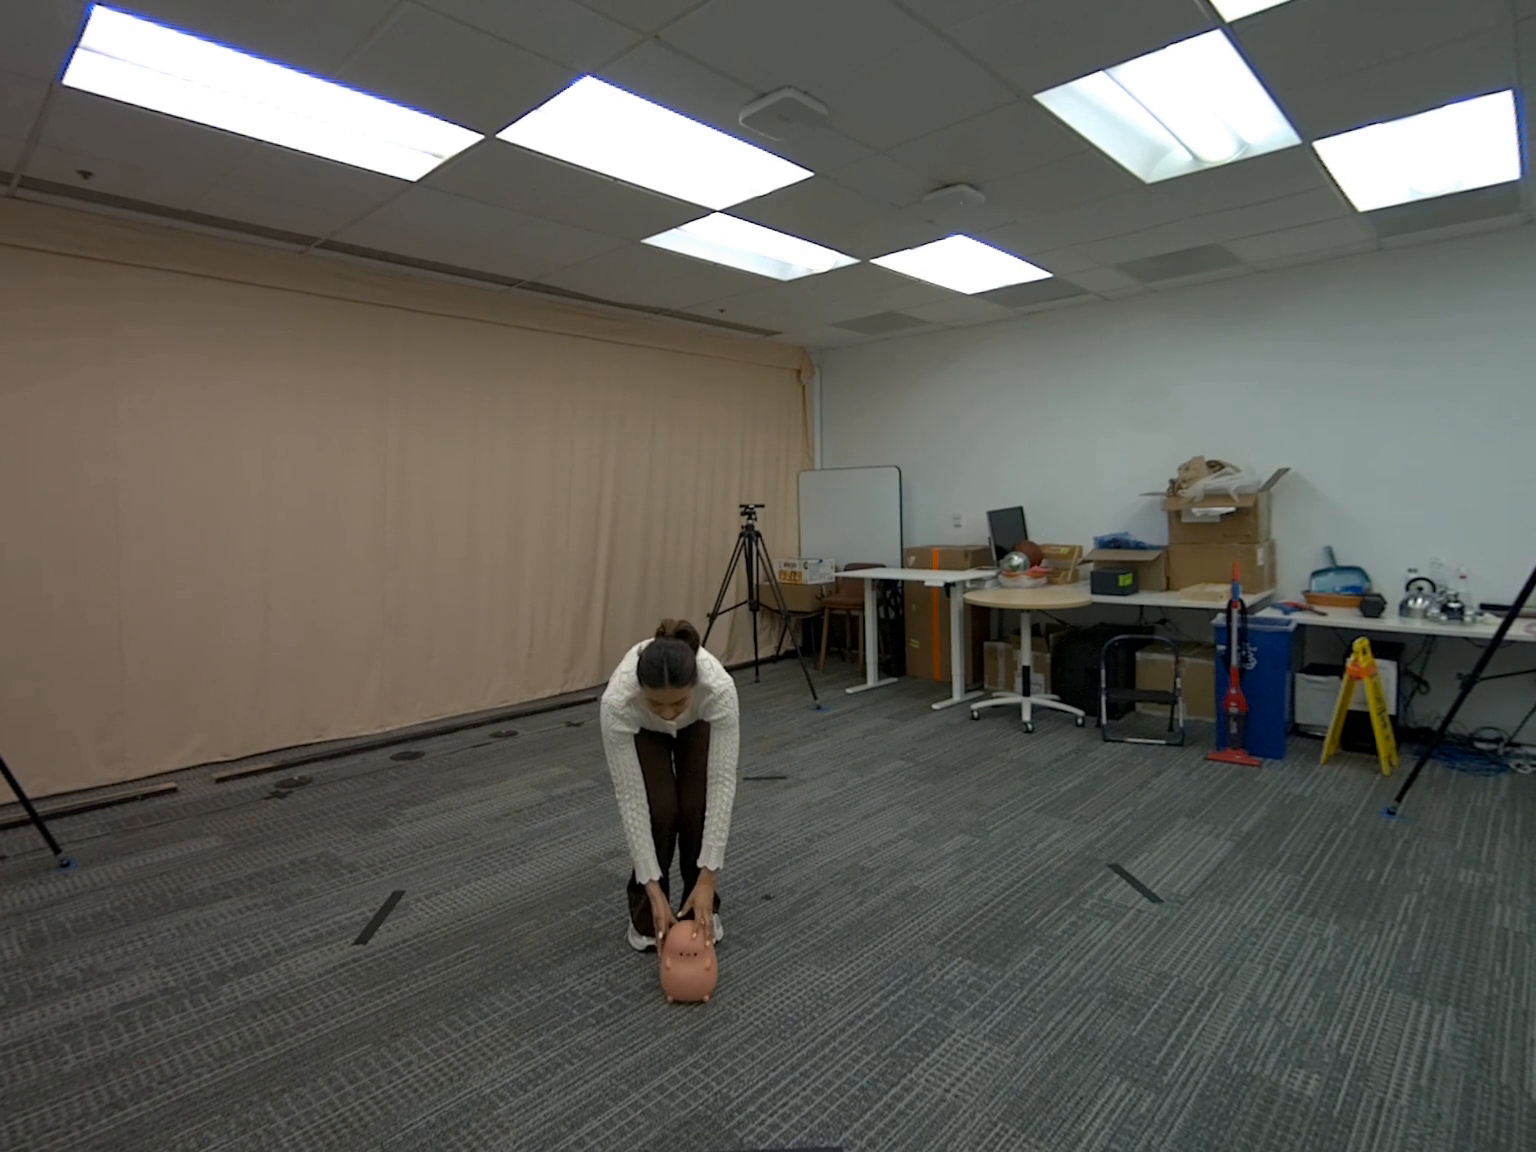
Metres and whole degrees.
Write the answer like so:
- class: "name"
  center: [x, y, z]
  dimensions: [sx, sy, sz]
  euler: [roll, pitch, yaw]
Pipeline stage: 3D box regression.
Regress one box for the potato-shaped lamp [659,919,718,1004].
- class: "potato-shaped lamp"
  center: [-0.229, 1.083, 2.414]
  dimensions: [0.165, 0.197, 0.172]
  euler: [0, 5, 0]
